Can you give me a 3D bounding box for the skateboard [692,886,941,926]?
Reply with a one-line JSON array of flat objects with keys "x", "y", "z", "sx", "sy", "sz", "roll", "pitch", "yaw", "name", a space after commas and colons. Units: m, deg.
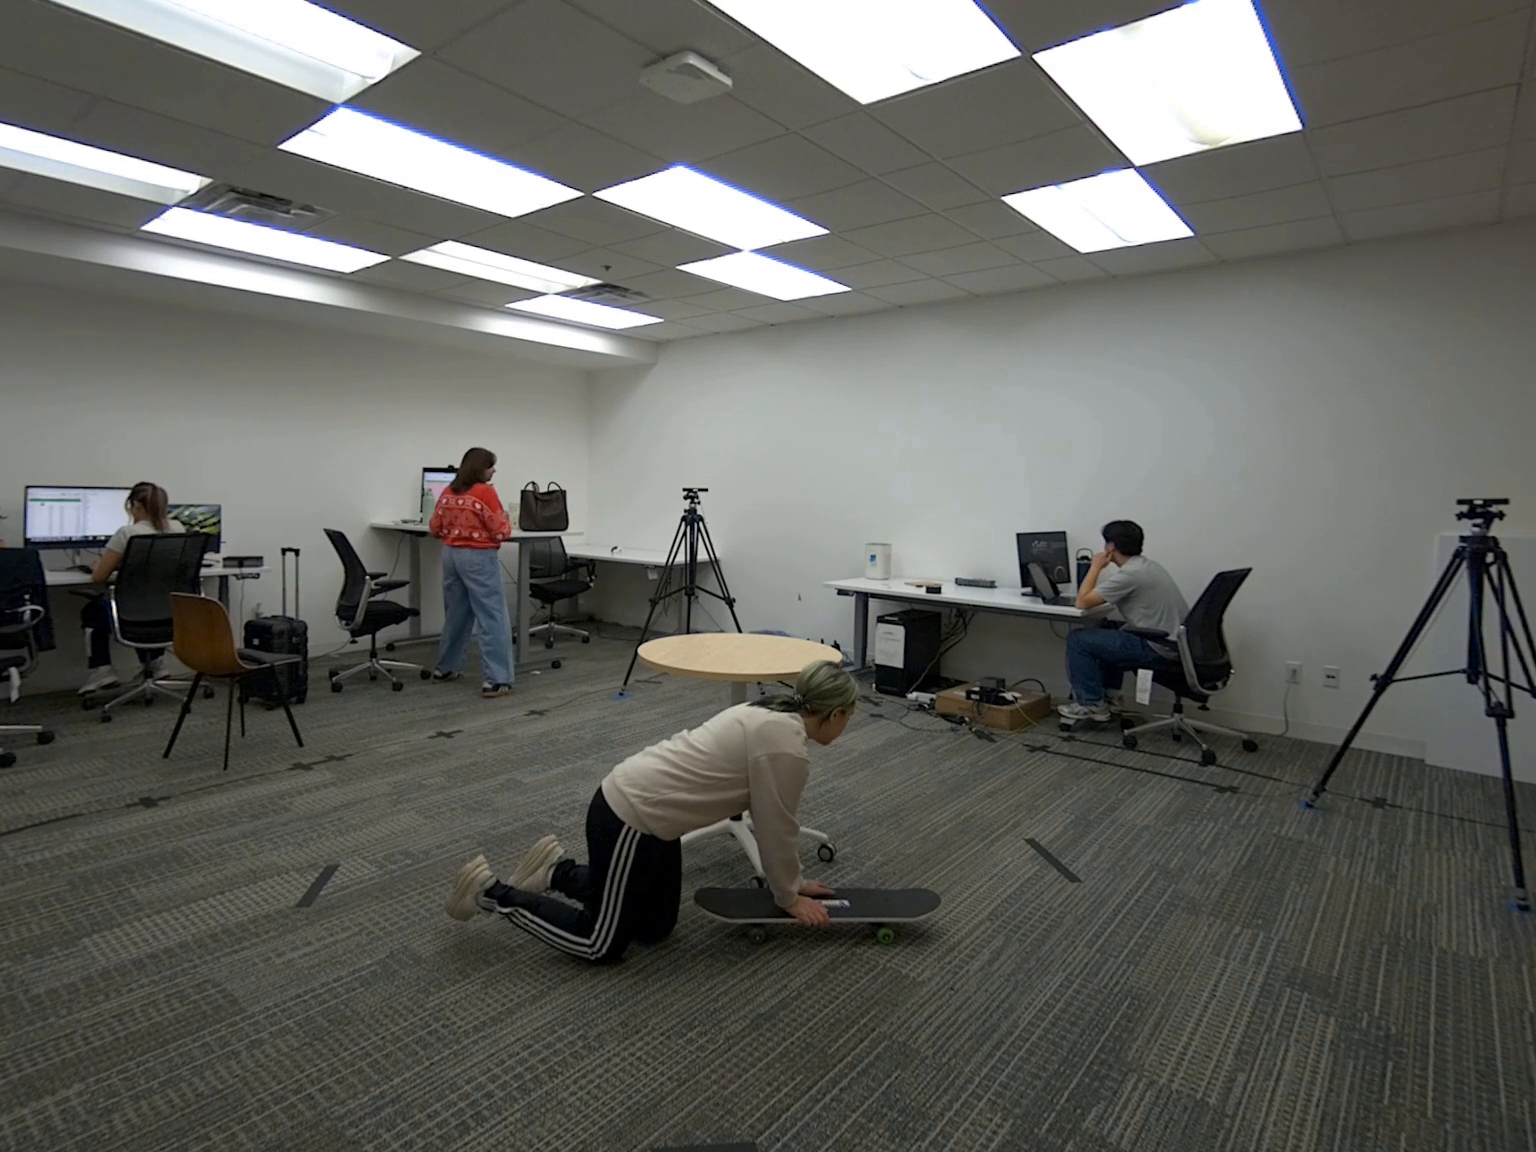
[{"x": 0.148, "y": 1.063, "z": 2.691, "sx": 0.783, "sy": 0.110, "sz": 0.195, "roll": 2, "pitch": 6, "yaw": -3, "name": "skateboard"}]
